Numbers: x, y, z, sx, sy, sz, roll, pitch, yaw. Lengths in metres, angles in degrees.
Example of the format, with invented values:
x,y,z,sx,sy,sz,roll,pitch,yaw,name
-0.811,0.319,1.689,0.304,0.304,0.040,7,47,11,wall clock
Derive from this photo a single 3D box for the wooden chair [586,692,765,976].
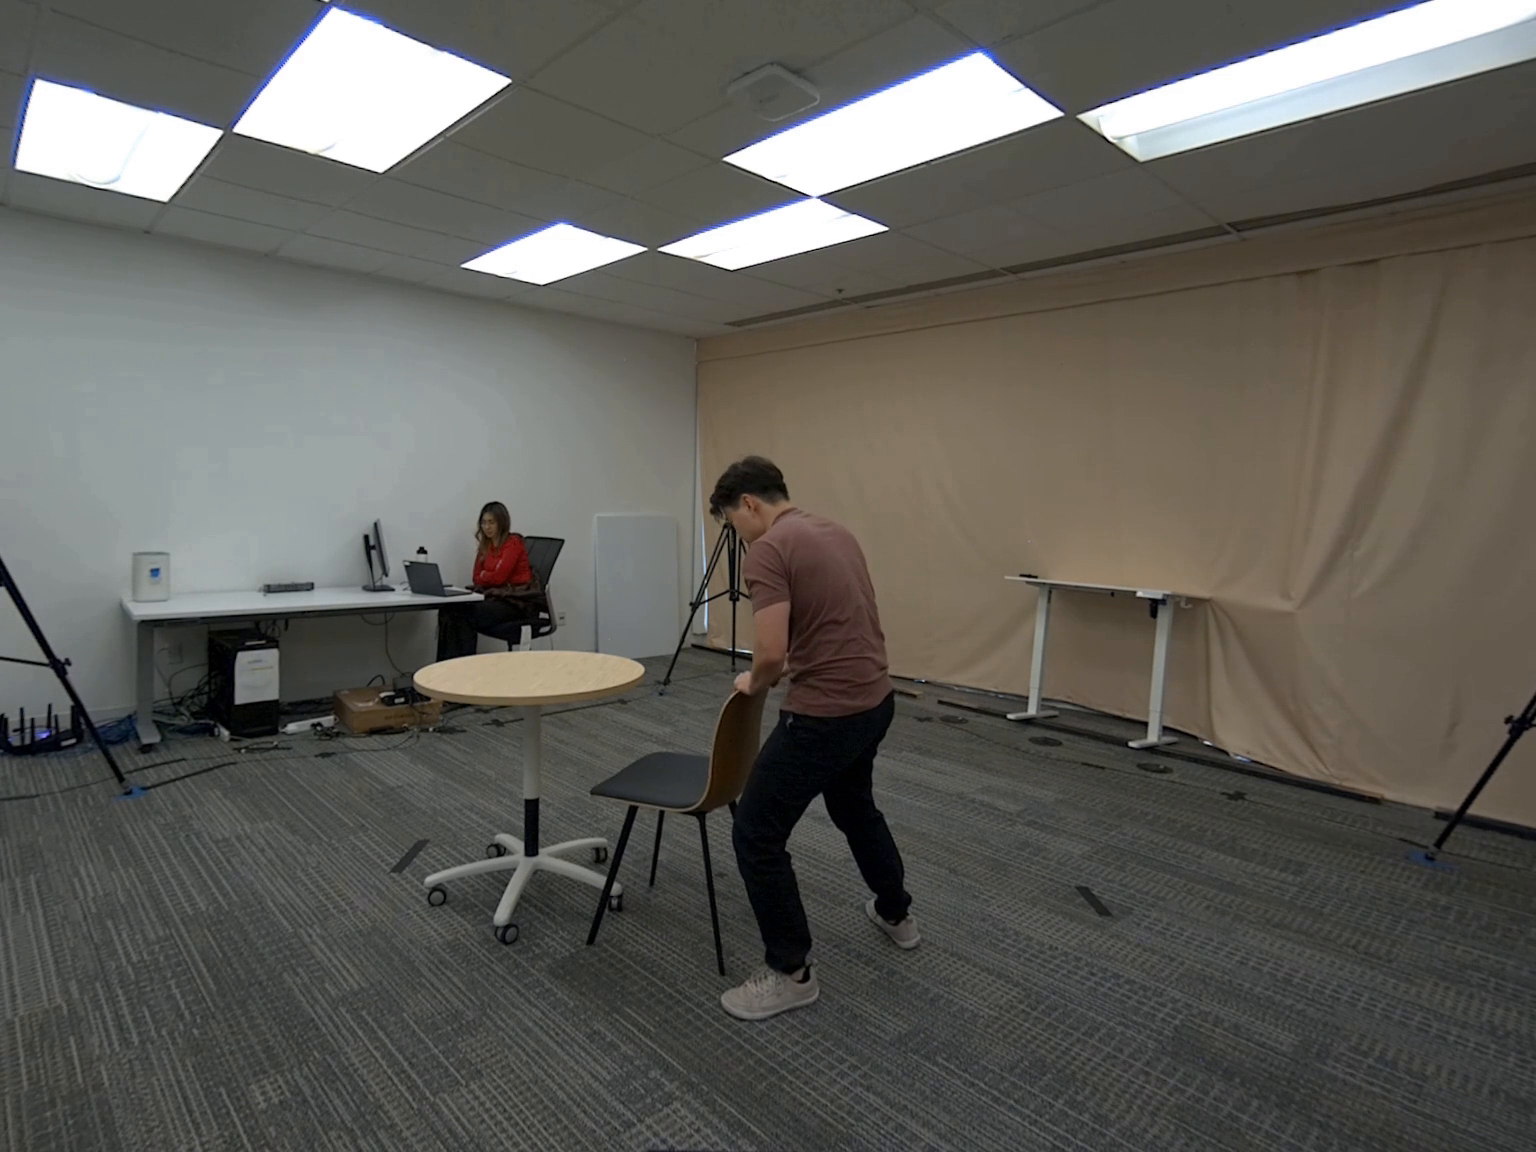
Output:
x,y,z,sx,sy,sz,roll,pitch,yaw,name
-0.281,0.708,2.701,0.532,0.874,0.472,7,6,19,wooden chair
